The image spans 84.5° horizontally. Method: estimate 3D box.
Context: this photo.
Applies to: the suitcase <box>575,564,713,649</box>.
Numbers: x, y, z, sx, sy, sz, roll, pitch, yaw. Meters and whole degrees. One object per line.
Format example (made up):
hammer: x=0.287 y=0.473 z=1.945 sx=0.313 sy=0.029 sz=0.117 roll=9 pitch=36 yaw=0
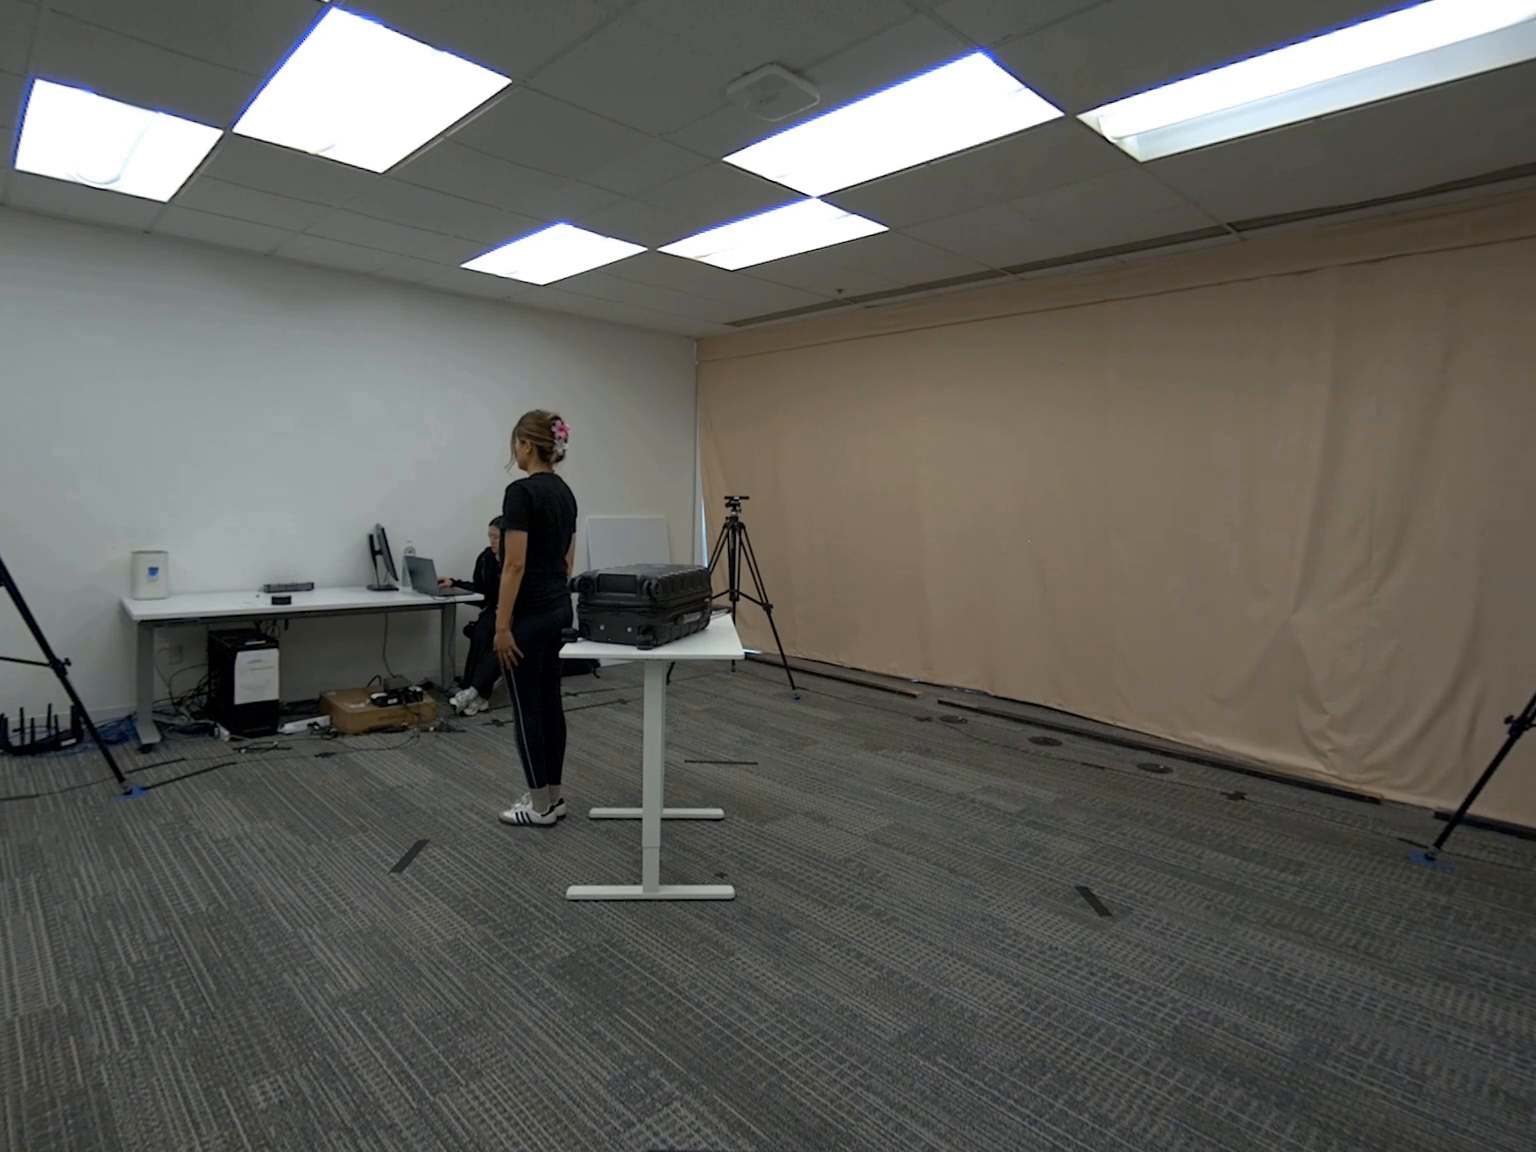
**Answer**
suitcase: x=-0.381 y=0.078 z=3.262 sx=0.390 sy=0.256 sz=0.967 roll=1 pitch=6 yaw=19
